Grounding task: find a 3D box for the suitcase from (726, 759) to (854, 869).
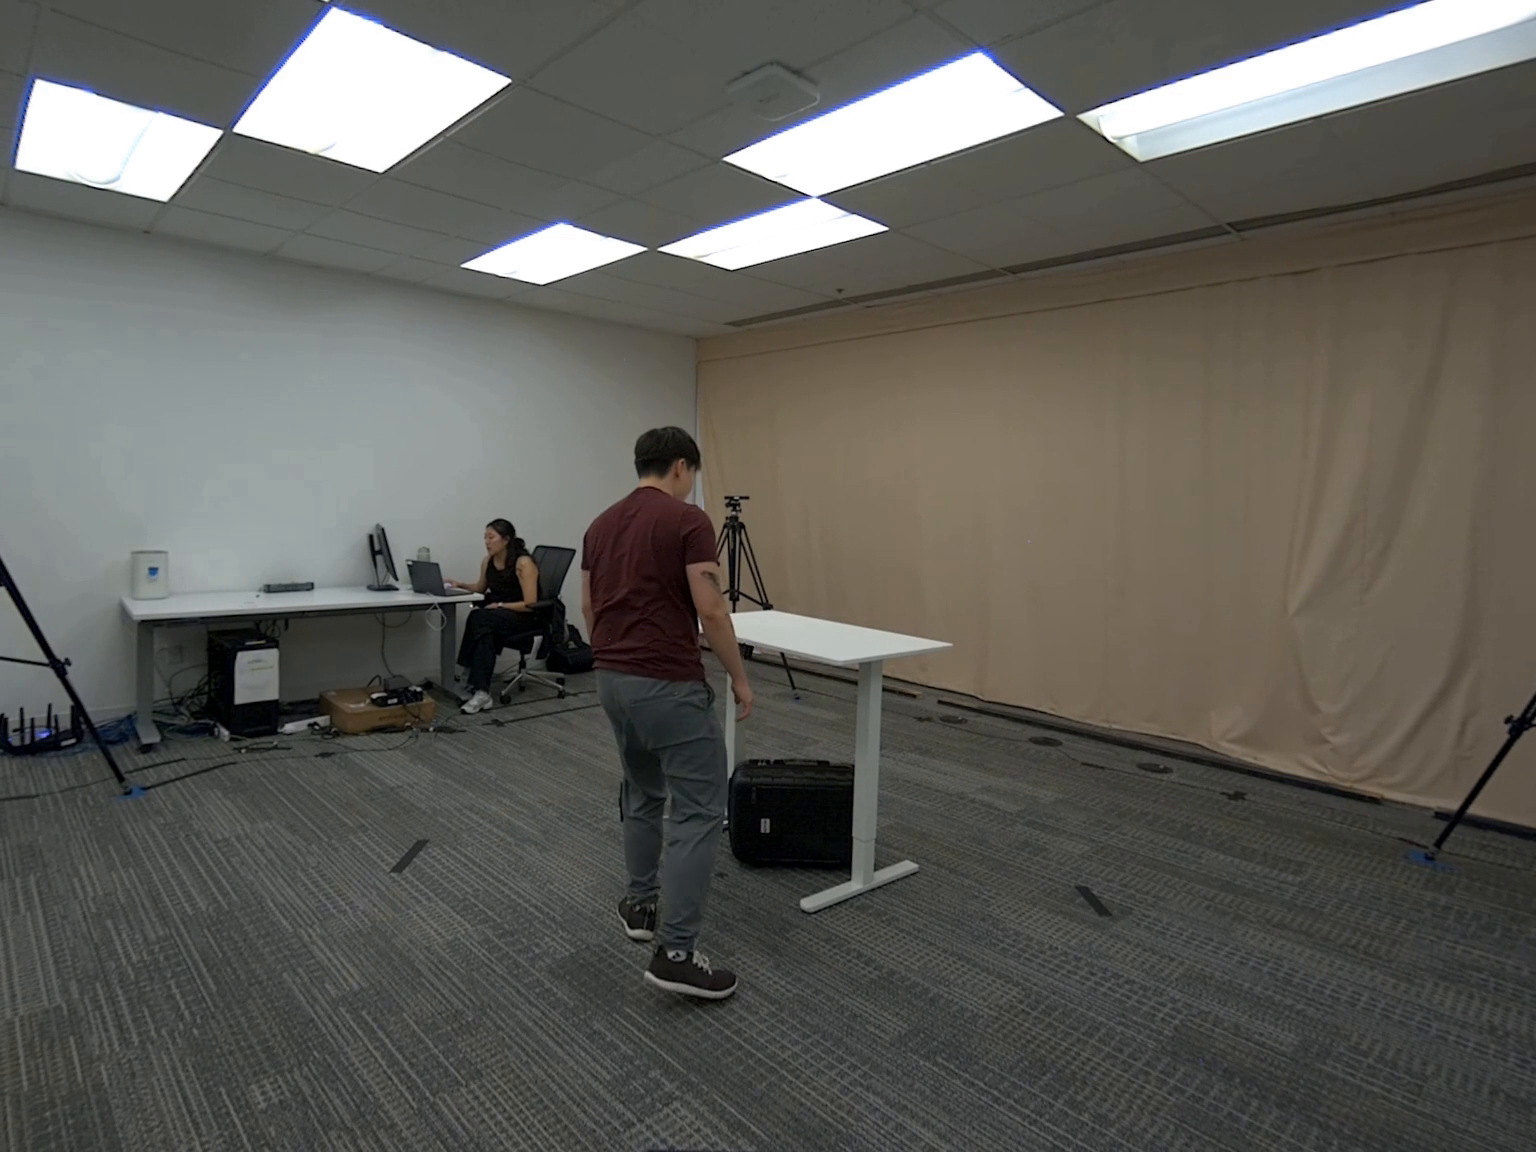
[{"bbox_3d":[-0.096,0.905,3.234,0.978,0.383,0.257,1,2,-1],"label":"suitcase"}]
